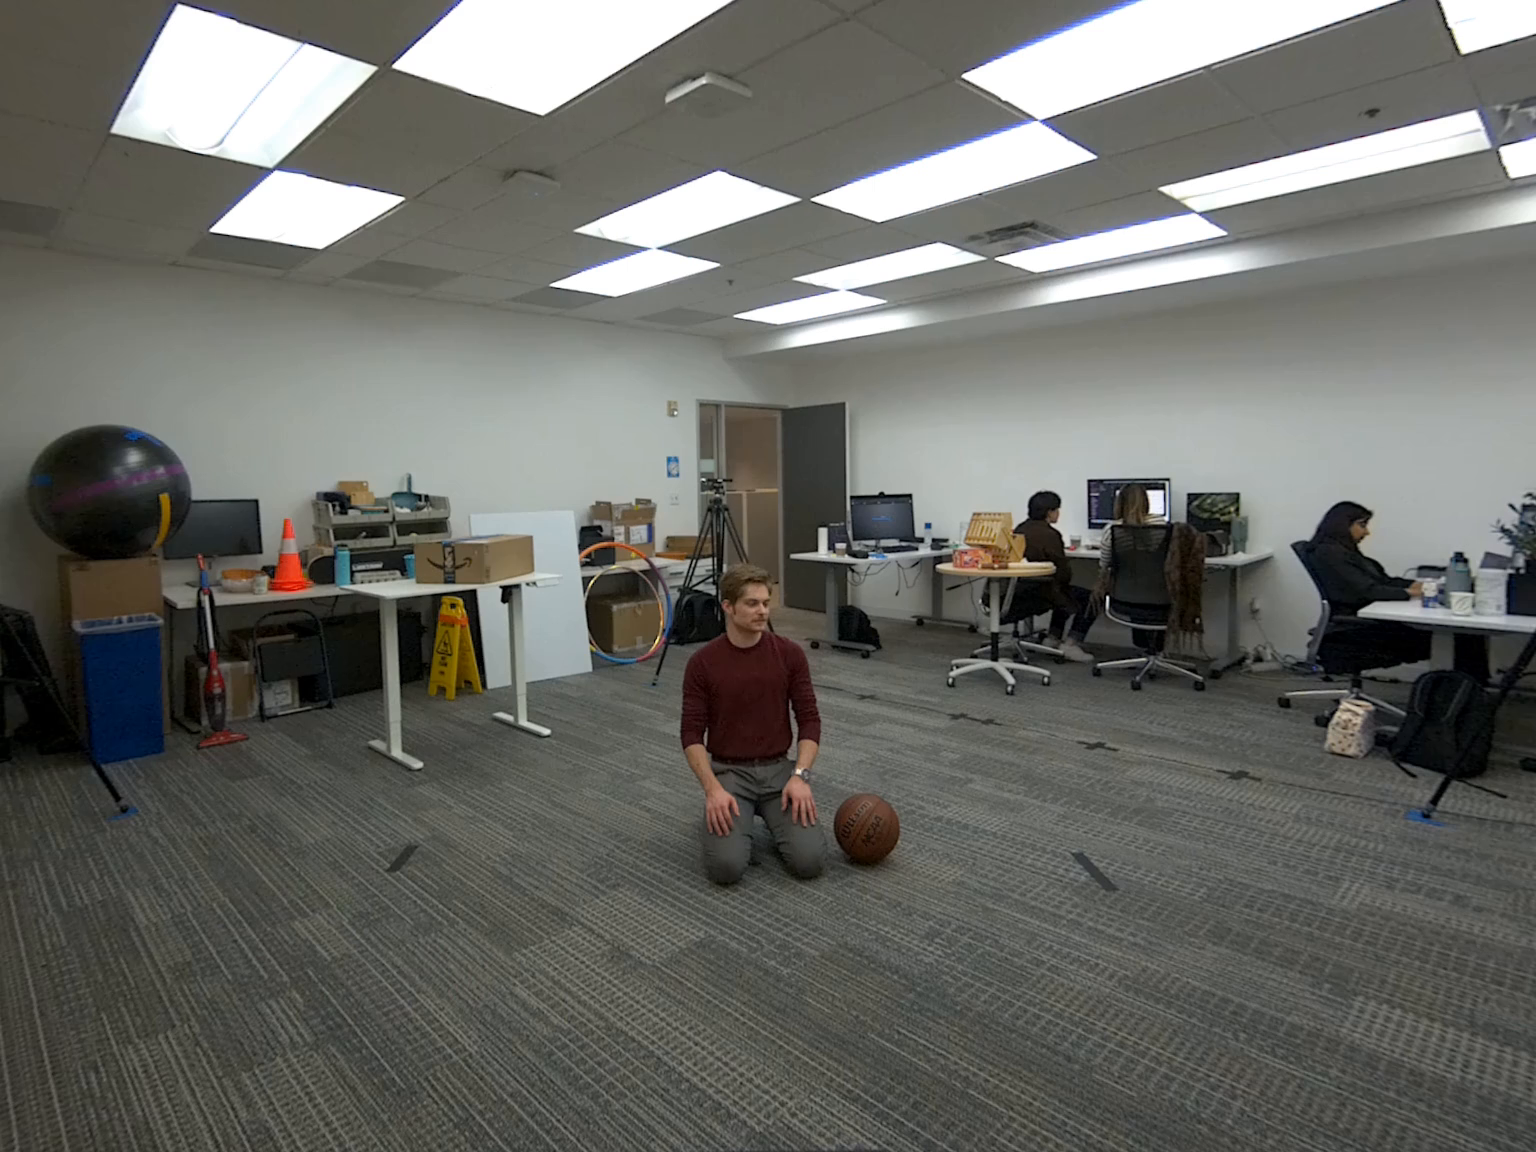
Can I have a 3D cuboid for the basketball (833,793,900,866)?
[{"bbox_3d":[0.360,0.914,3.111,0.236,0.235,0.237,-1,5,-2],"label":"basketball"}]
